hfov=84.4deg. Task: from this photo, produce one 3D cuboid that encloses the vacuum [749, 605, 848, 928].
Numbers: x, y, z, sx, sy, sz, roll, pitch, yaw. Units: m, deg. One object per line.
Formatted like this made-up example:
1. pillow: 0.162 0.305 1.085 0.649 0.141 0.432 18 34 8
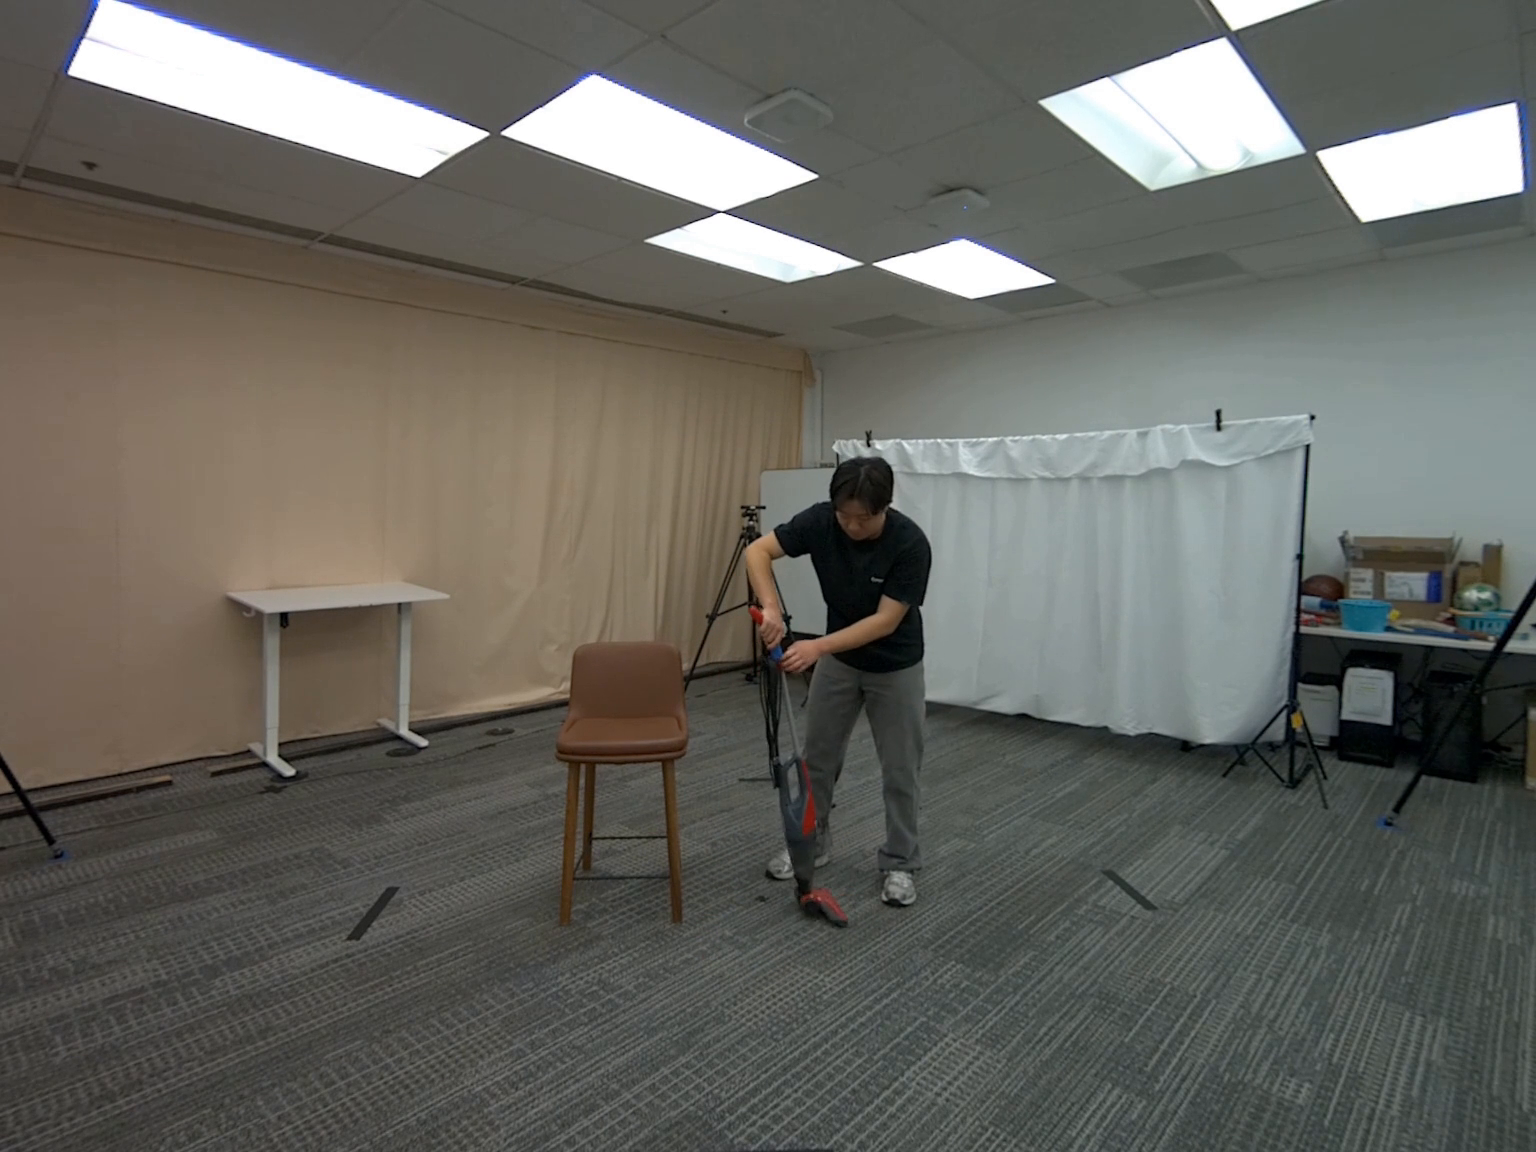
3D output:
1. vacuum: 0.068 0.628 2.862 0.141 1.046 0.258 -14 4 -21
